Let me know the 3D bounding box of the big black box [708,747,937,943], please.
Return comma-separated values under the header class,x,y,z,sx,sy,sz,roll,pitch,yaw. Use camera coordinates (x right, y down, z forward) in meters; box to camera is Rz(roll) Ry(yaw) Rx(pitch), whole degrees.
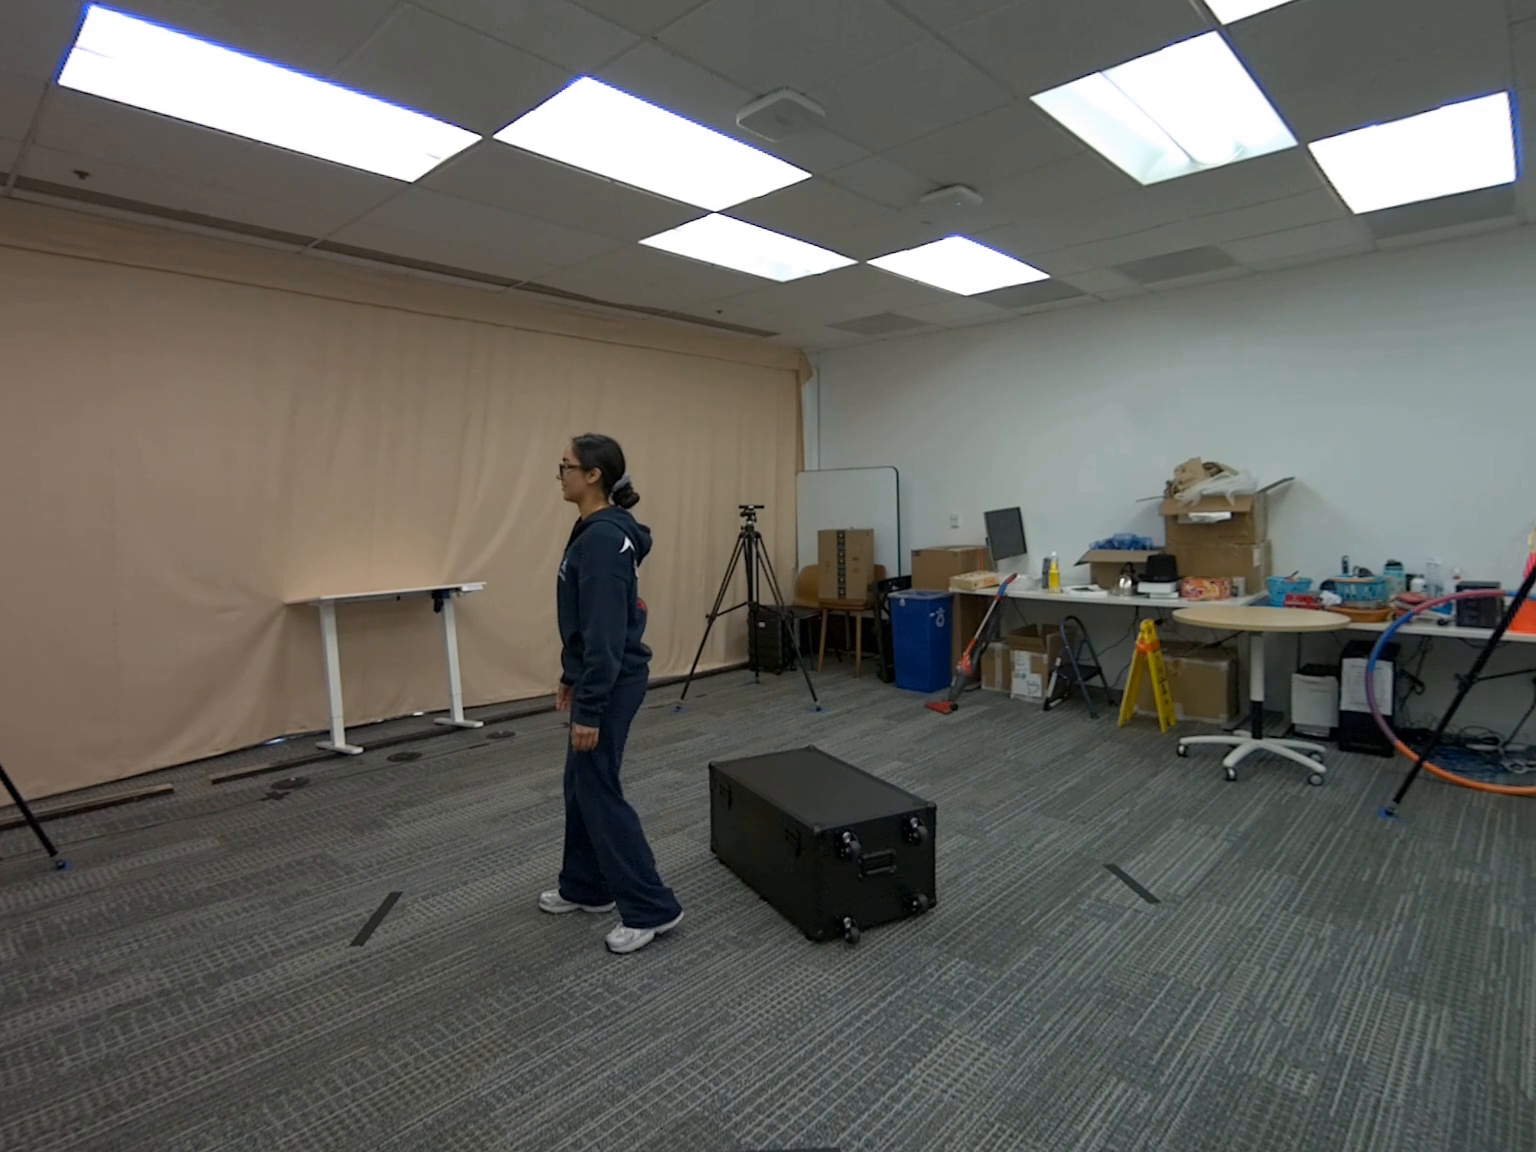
class,x,y,z,sx,sy,sz,roll,pitch,yaw
big black box,0.199,0.953,3.063,0.386,0.520,0.886,-6,6,-30
